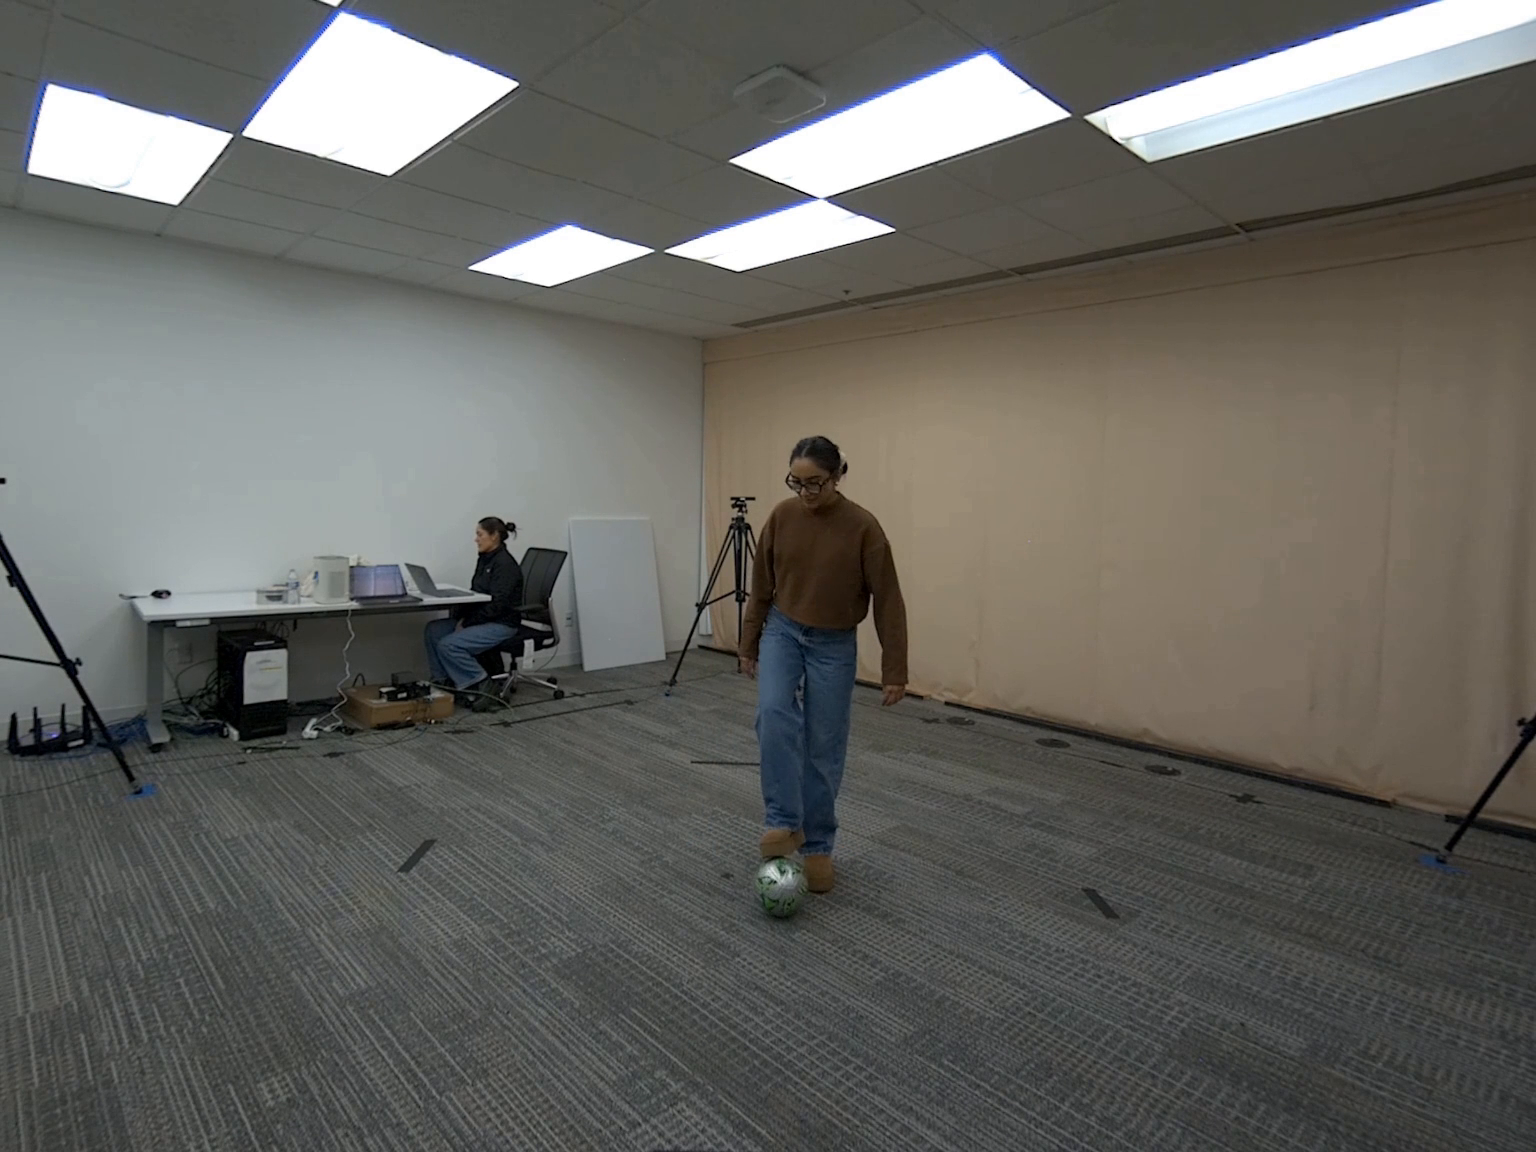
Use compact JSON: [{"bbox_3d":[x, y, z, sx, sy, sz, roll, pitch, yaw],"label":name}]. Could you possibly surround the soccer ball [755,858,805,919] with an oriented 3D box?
[{"bbox_3d":[0.025,1.046,2.824,0.187,0.187,0.188,1,4,-1],"label":"soccer ball"}]
